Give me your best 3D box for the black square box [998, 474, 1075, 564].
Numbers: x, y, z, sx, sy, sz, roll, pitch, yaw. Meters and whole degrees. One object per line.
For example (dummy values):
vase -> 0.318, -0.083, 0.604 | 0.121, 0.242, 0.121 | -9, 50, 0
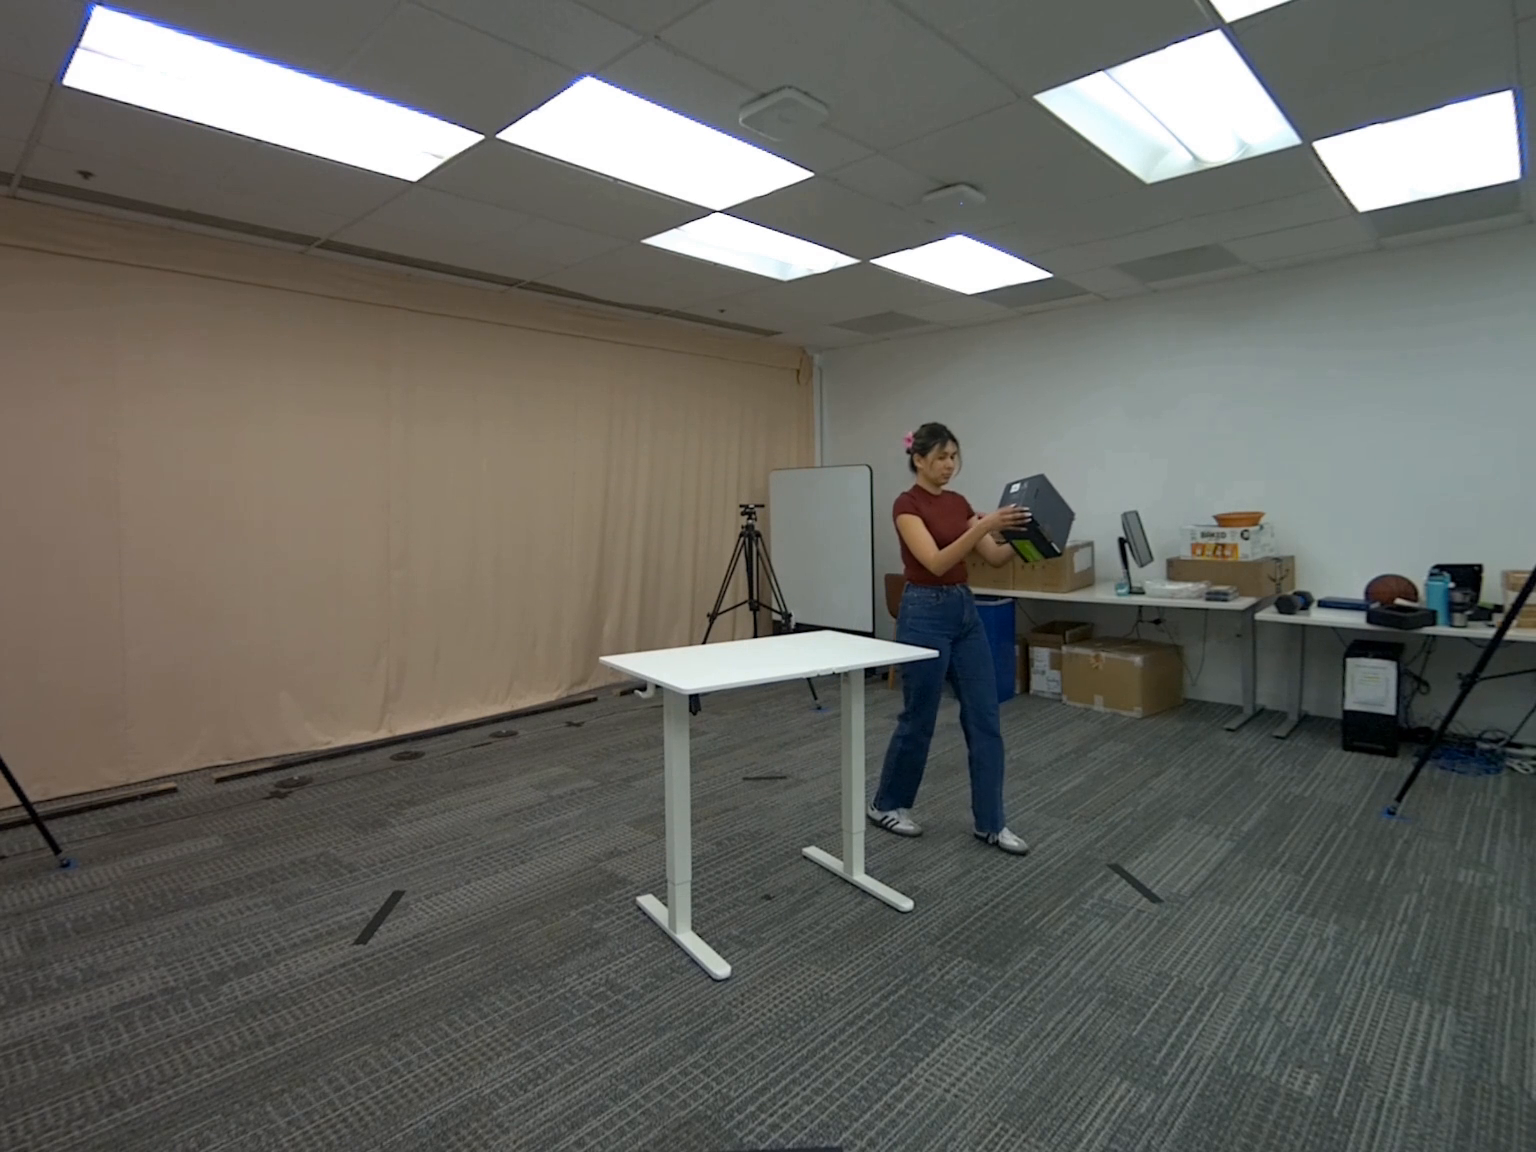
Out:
black square box -> 0.980, -0.209, 3.111 | 0.222, 0.217, 0.160 | 45, -35, -22
